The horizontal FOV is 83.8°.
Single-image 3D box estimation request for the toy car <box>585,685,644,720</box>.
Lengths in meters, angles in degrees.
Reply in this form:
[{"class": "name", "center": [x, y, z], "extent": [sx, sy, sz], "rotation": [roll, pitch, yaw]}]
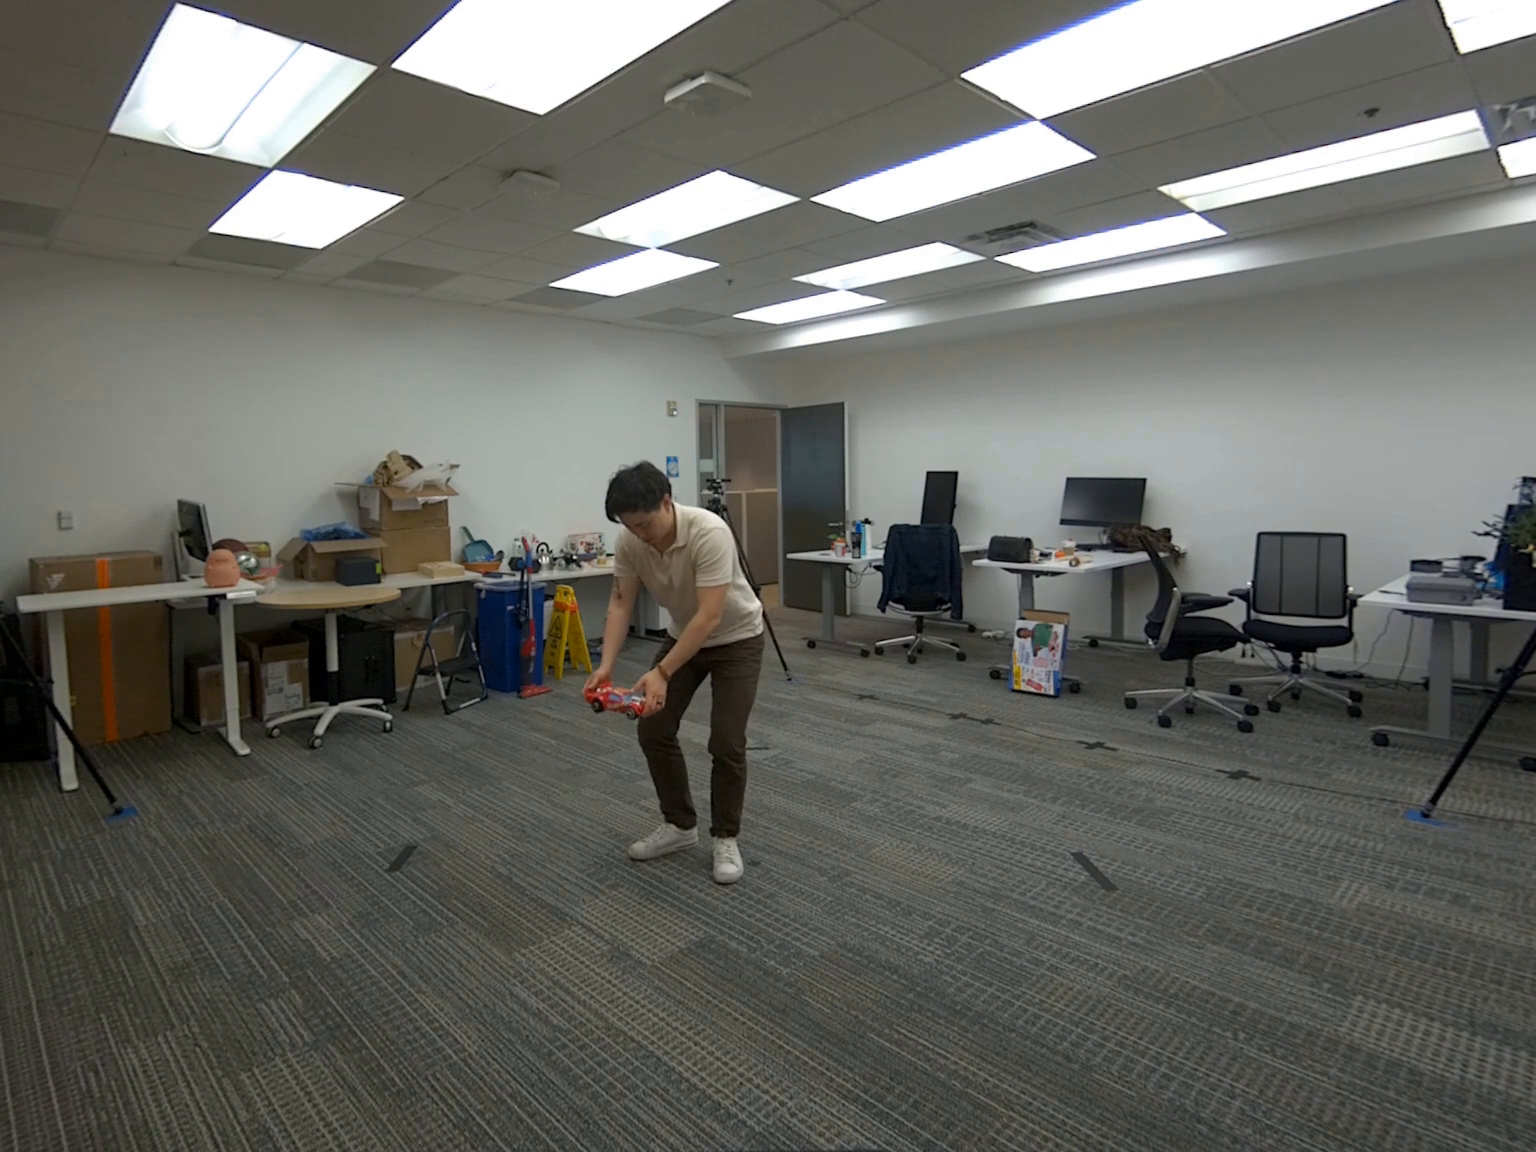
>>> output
[{"class": "toy car", "center": [-0.482, 0.416, 2.790], "extent": [0.263, 0.082, 0.127], "rotation": [17, 15, 32]}]
